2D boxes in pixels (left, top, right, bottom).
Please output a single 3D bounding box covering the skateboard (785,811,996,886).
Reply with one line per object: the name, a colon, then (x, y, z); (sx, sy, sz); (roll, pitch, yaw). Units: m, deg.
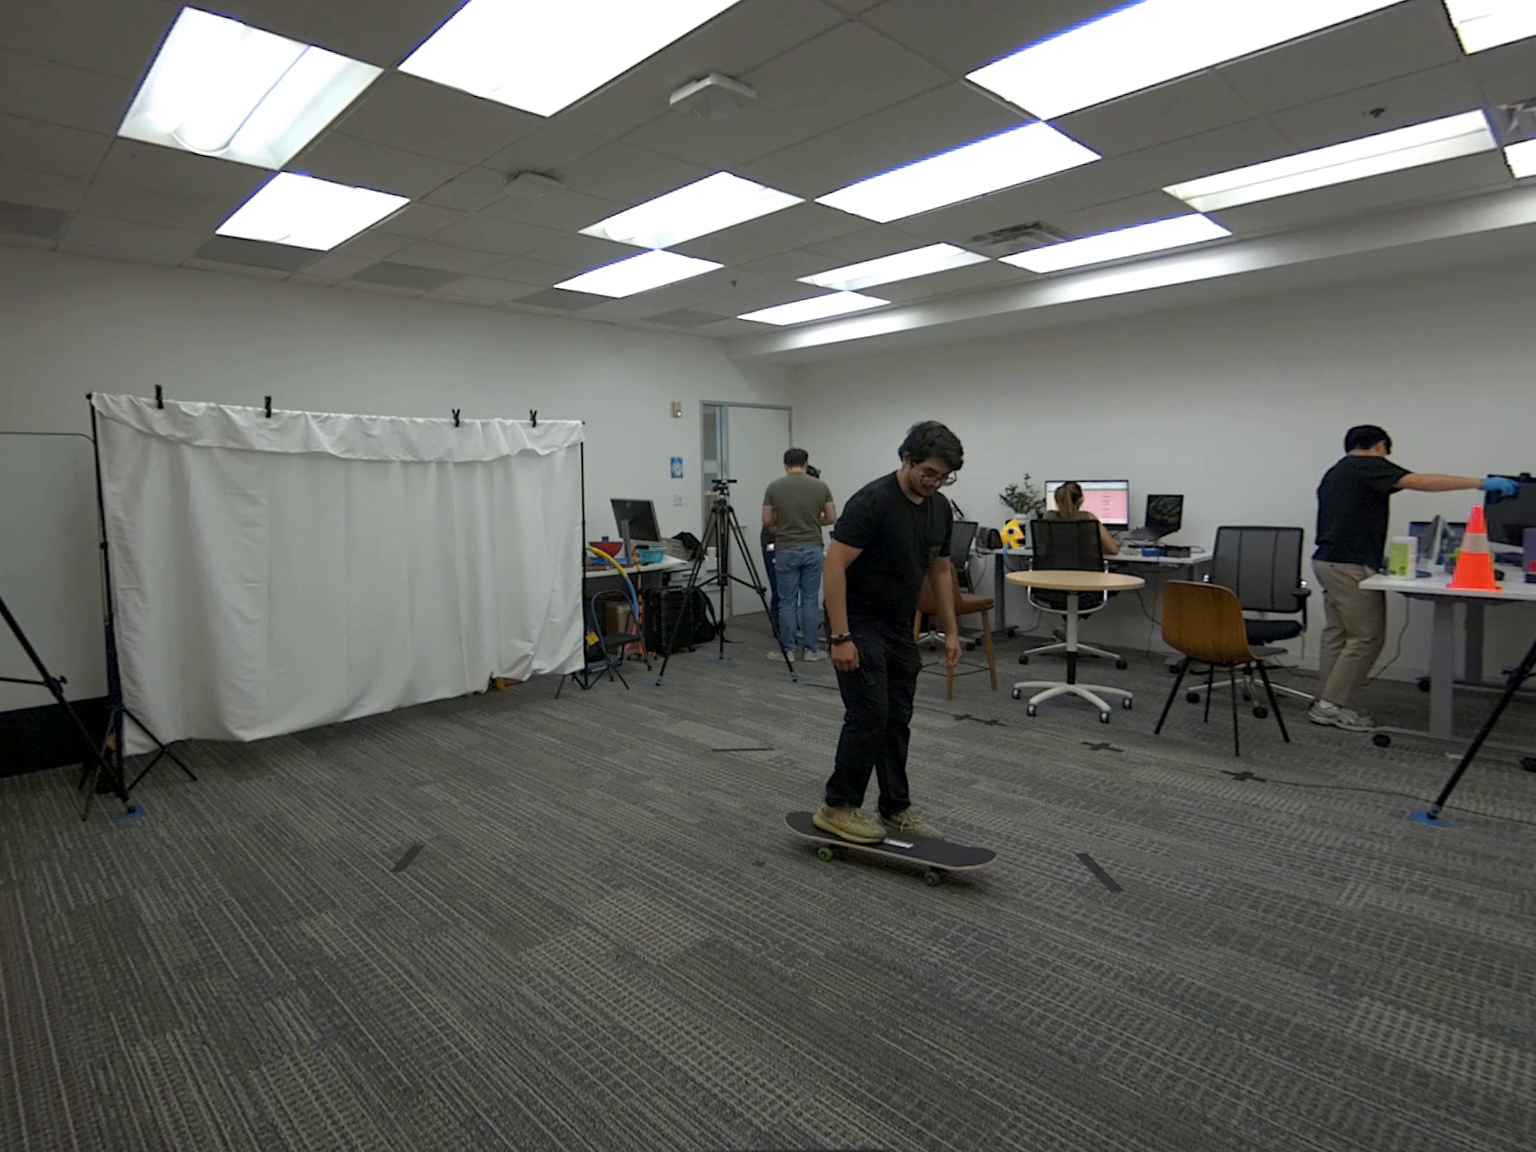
skateboard: (0.432, 0.992, 3.089); (0.806, 0.110, 0.189); (2, 6, 31)
